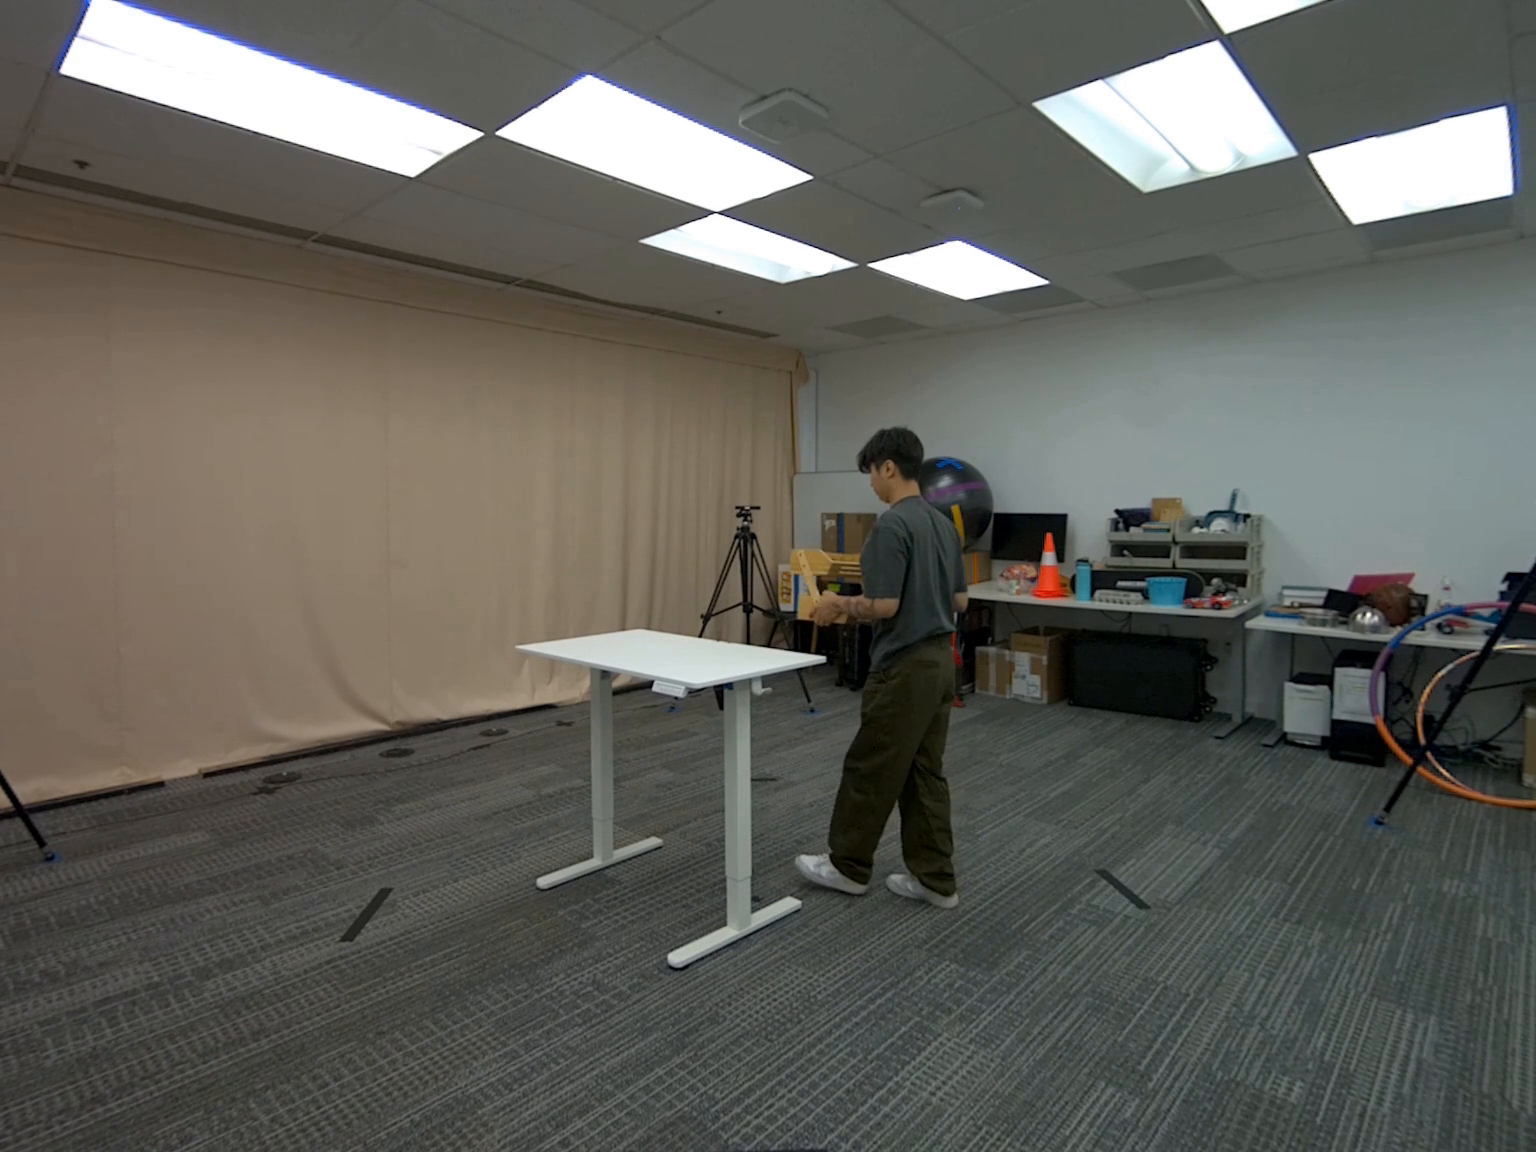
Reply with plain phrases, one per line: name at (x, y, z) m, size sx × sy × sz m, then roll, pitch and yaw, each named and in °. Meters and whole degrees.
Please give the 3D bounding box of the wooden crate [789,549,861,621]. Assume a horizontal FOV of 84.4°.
wooden crate at (0.288, 0.038, 3.166) m, size 0.314 × 0.274 × 0.312 m, roll 4°, pitch -3°, yaw -44°
